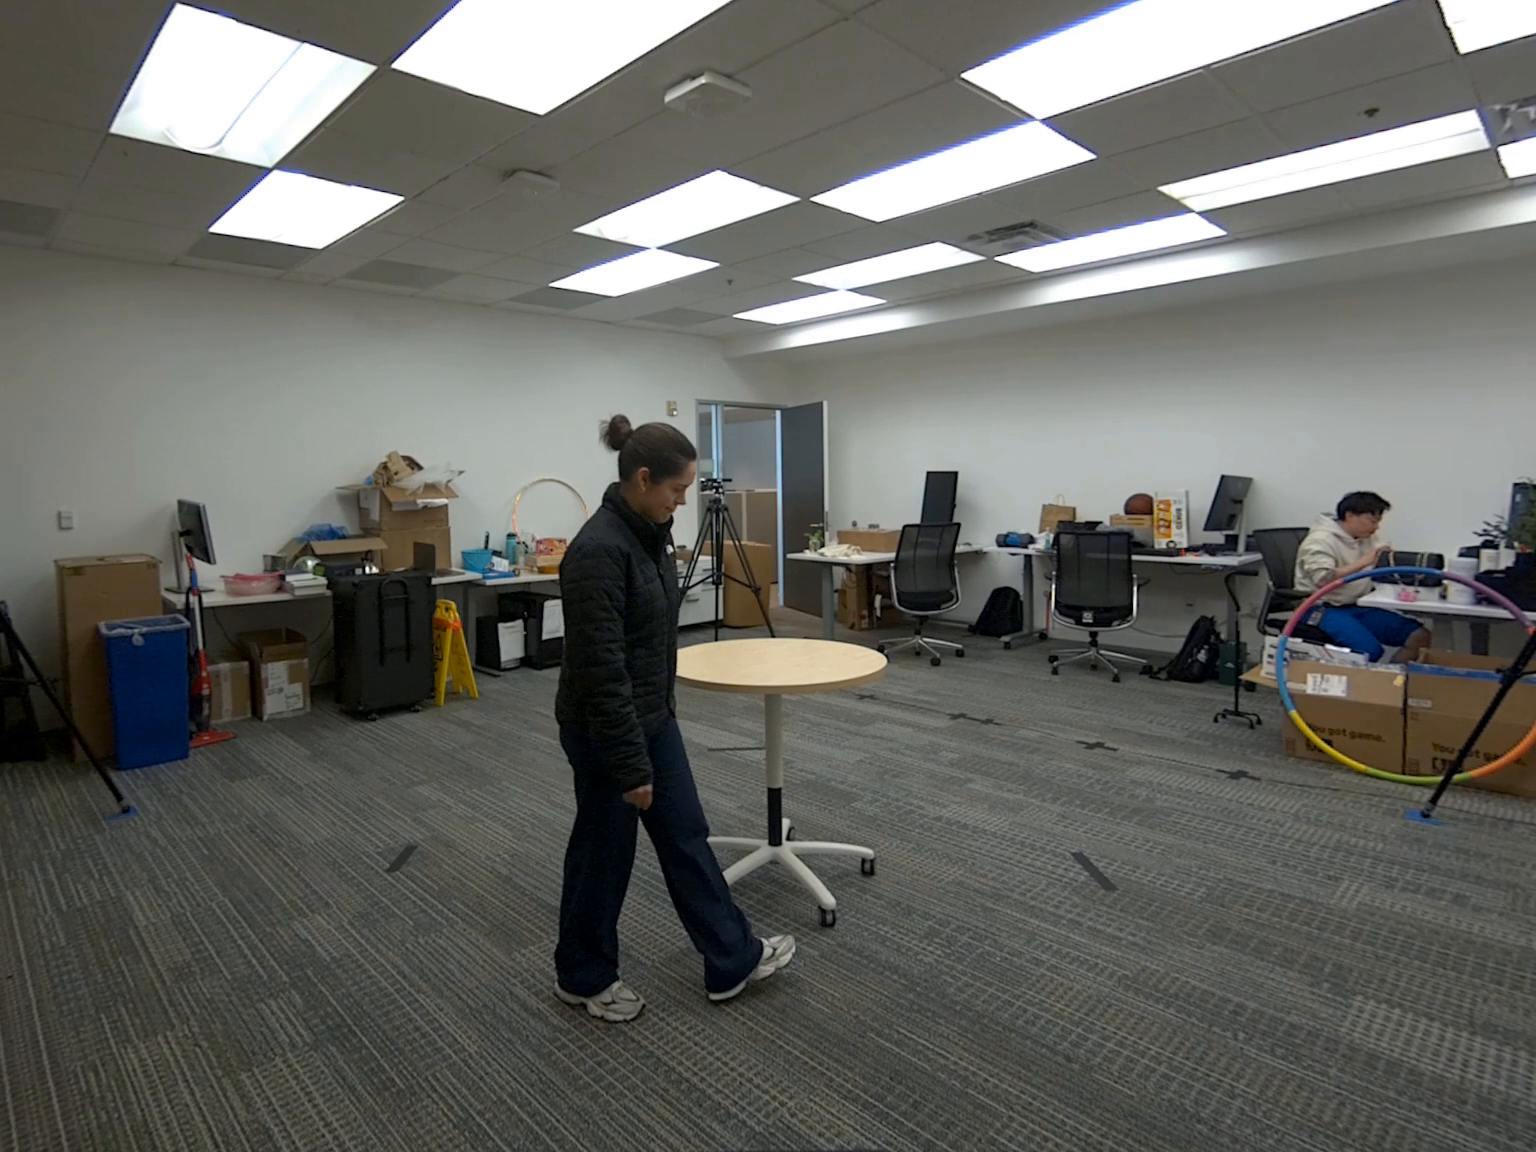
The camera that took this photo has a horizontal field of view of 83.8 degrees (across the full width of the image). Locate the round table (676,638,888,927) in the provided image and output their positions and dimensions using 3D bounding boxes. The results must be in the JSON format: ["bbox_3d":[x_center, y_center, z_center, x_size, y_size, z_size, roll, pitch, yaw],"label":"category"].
[{"bbox_3d":[0.010,0.669,2.935,0.784,0.784,0.789,-1,5,-2],"label":"round table"}]
